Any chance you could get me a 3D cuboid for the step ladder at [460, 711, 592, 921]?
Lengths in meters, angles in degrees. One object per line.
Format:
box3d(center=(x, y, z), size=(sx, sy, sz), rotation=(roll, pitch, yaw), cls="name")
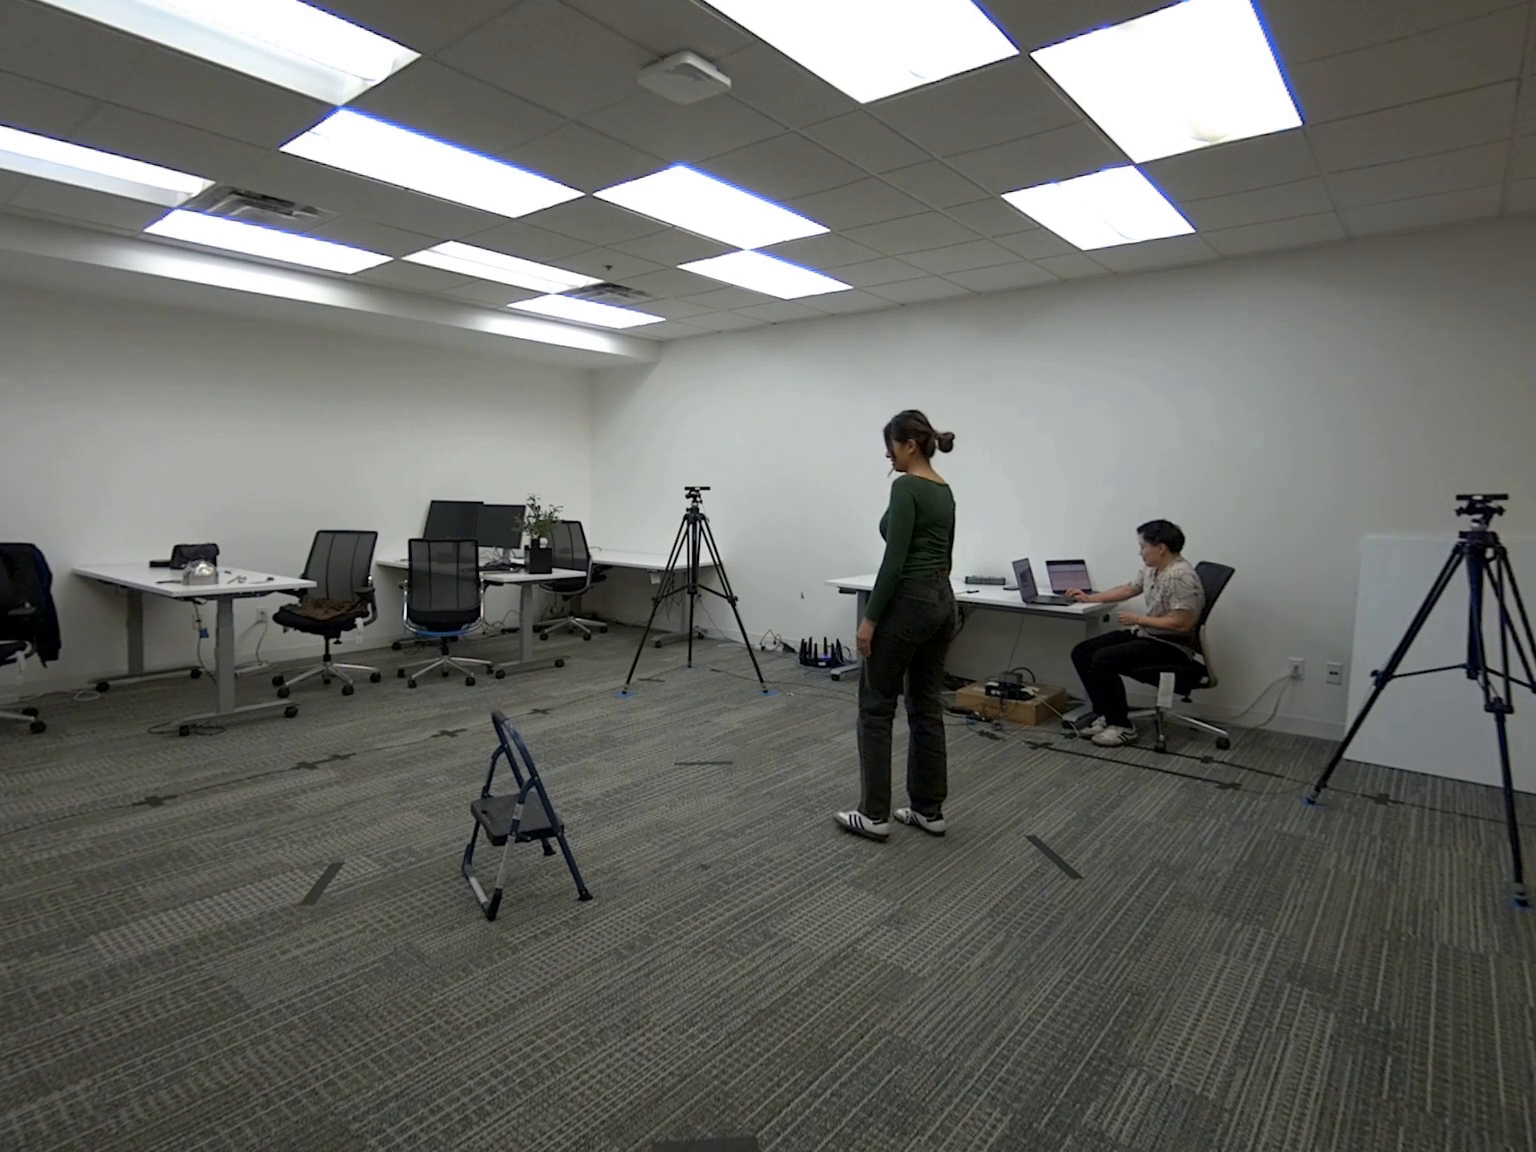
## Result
box3d(center=(-0.859, 0.769, 2.946), size=(0.340, 0.604, 0.444), rotation=(-2, 4, -32), cls="step ladder")
